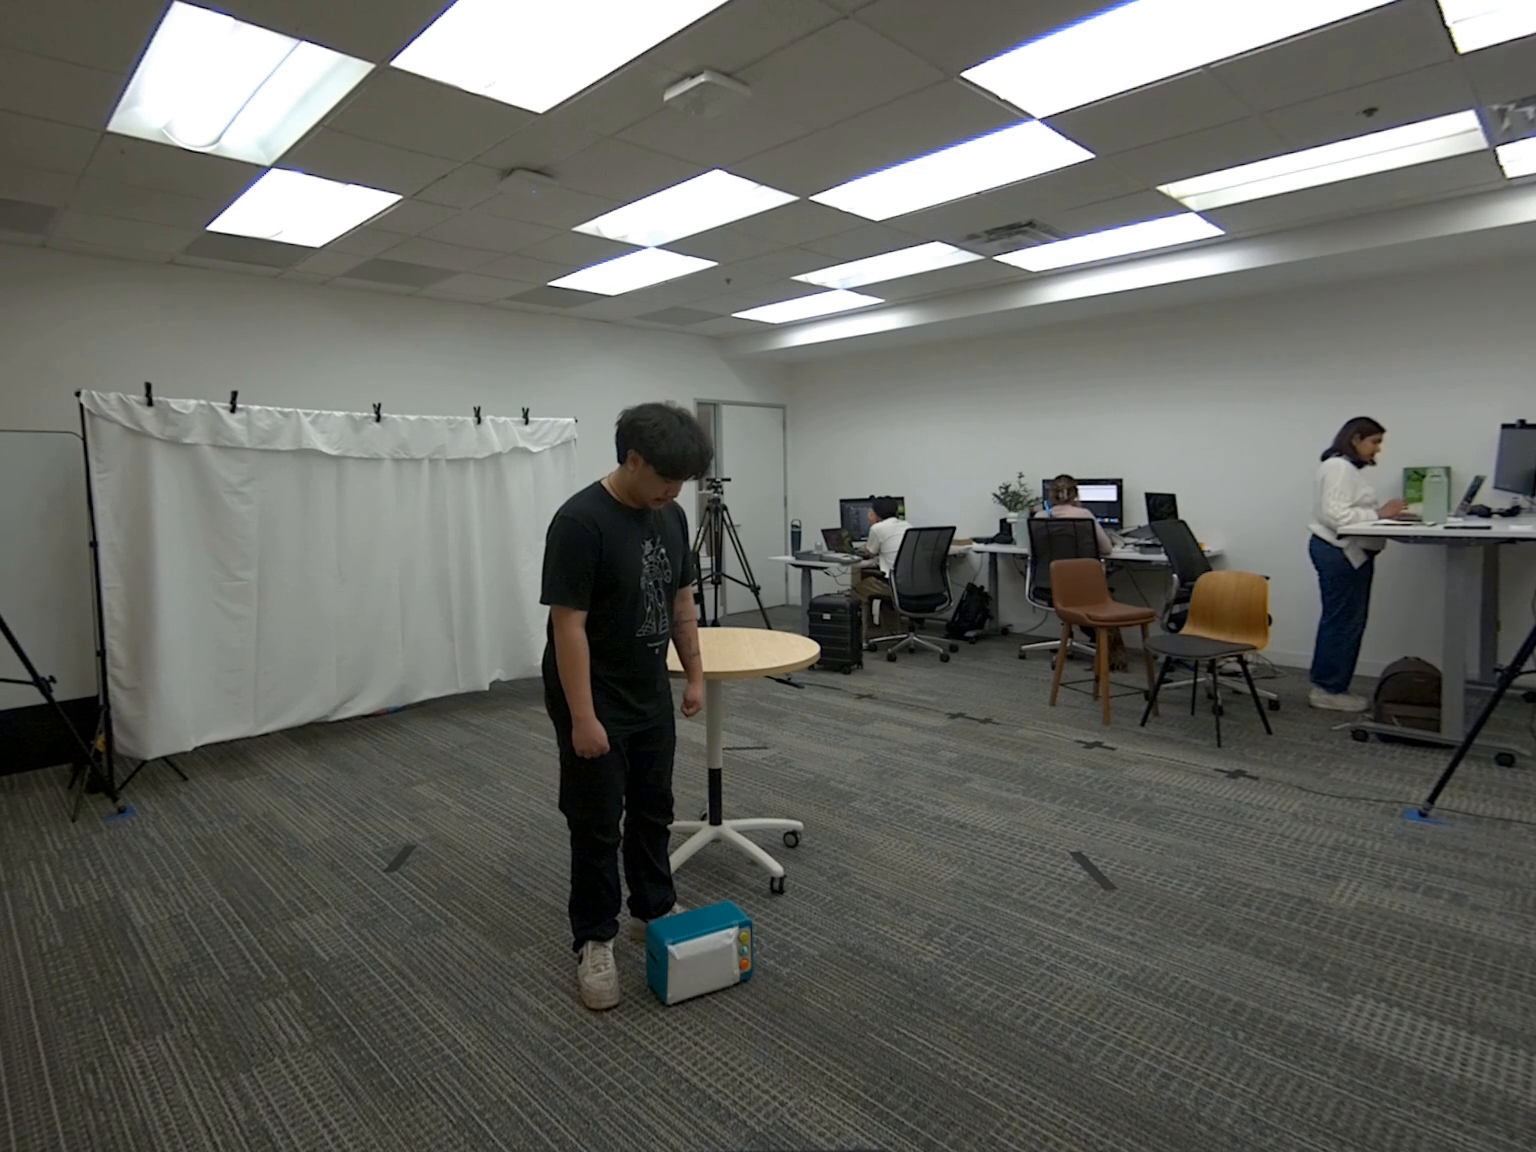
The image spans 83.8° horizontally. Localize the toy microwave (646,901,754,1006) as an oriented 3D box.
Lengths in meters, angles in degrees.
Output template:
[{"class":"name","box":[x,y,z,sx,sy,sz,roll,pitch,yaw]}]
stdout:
[{"class":"toy microwave","box":[-0.186,1.038,2.370,0.280,0.183,0.156,-3,7,-27]}]
